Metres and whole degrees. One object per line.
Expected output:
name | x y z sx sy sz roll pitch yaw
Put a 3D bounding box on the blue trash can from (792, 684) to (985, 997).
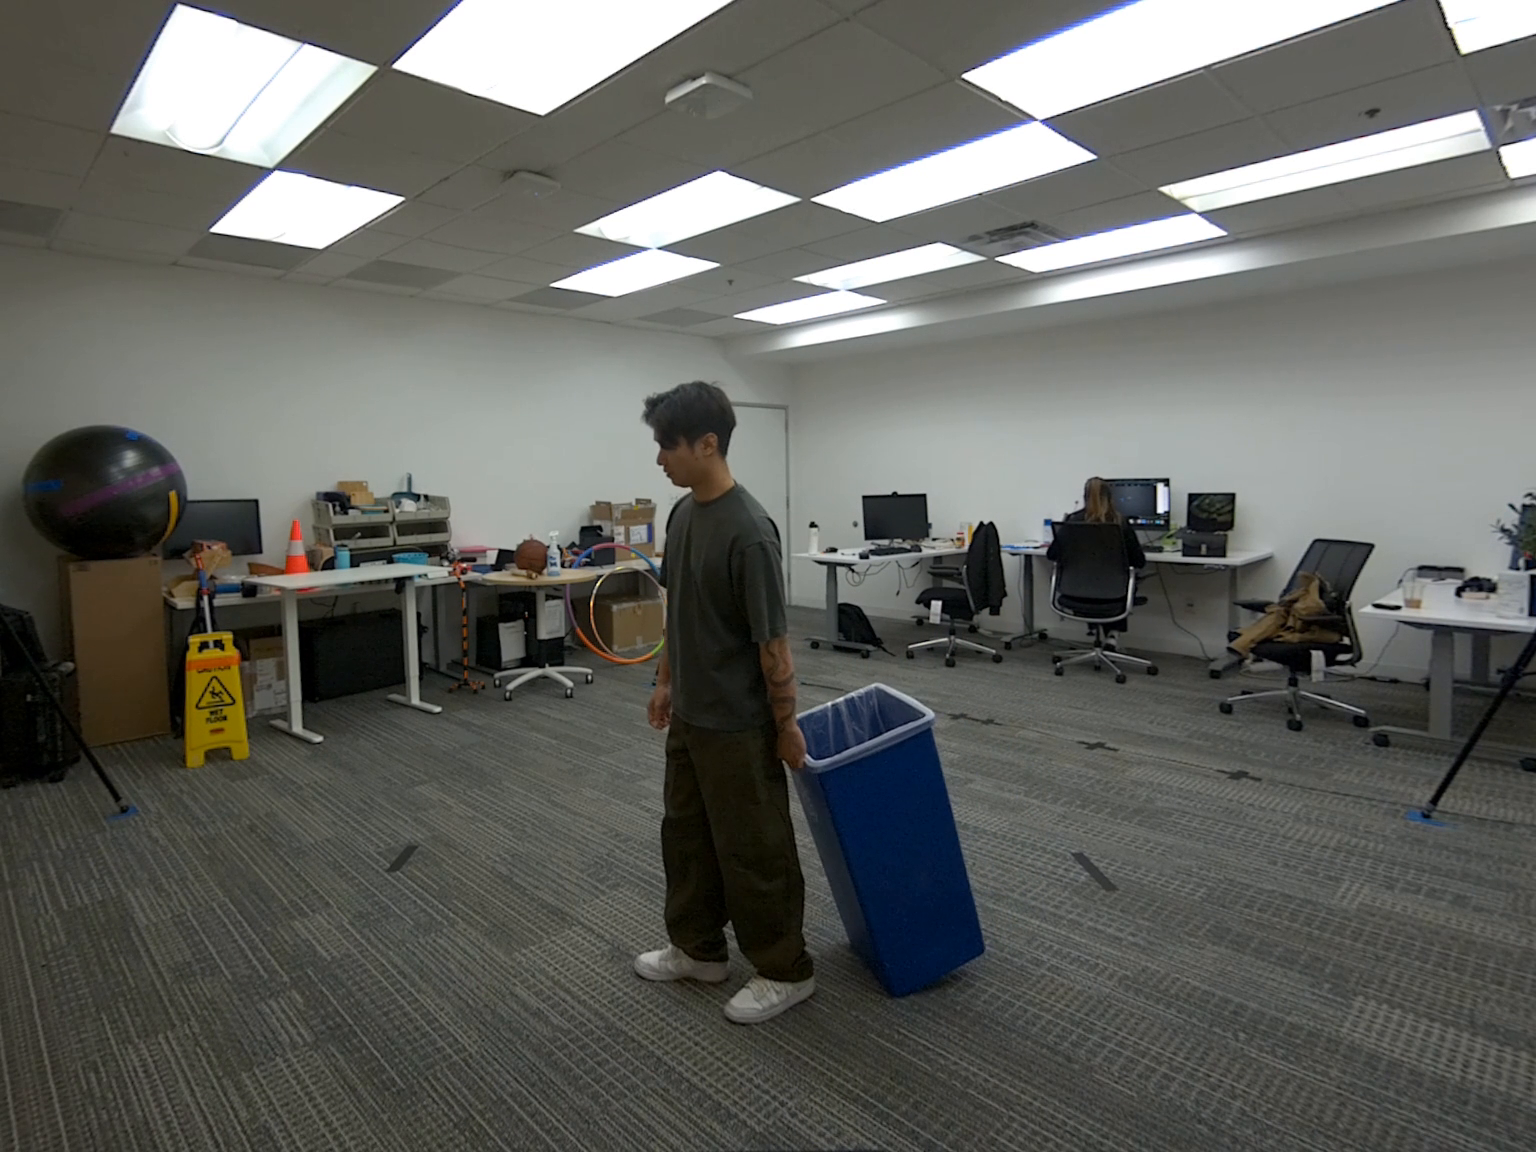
blue trash can | 0.332 0.736 2.406 0.375 0.706 0.381 -20 9 -13
